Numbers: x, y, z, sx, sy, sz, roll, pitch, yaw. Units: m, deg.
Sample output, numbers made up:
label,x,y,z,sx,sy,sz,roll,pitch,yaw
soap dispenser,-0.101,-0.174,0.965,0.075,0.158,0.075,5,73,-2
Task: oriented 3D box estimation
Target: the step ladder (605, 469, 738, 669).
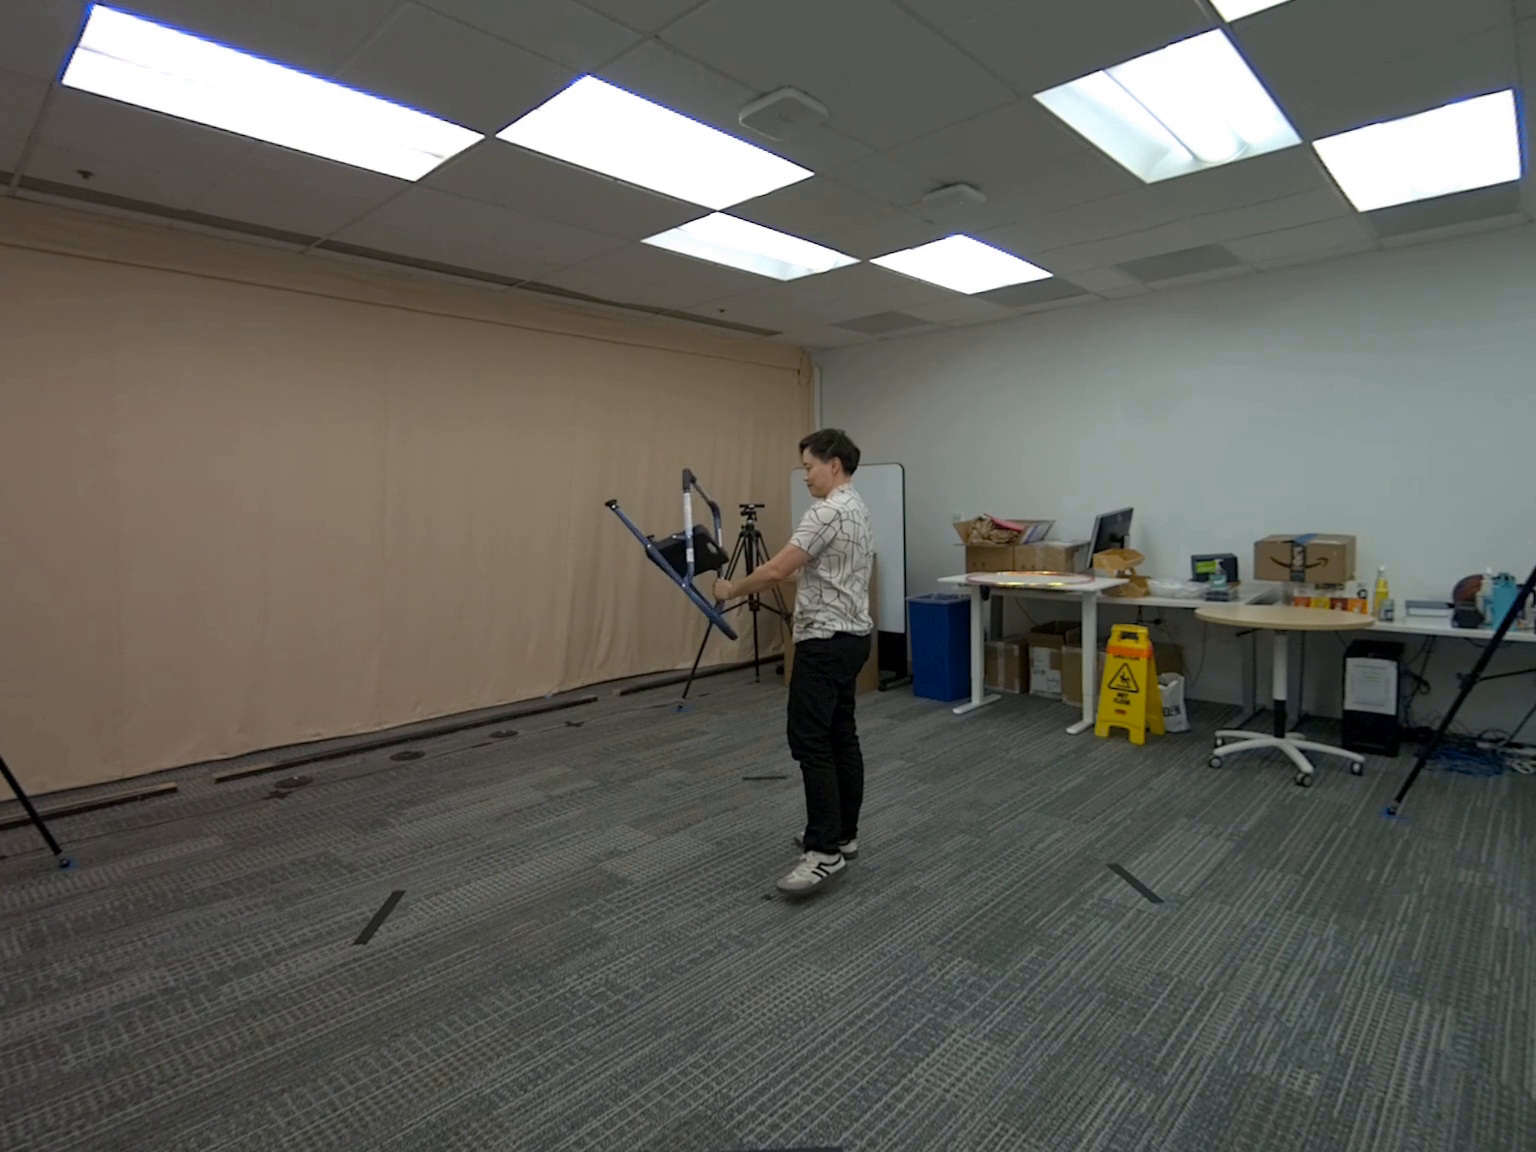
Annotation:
label,x,y,z,sx,sy,sz,roll,pitch,yaw
step ladder,-0.308,-0.009,3.243,0.351,0.619,0.419,-24,-24,8
